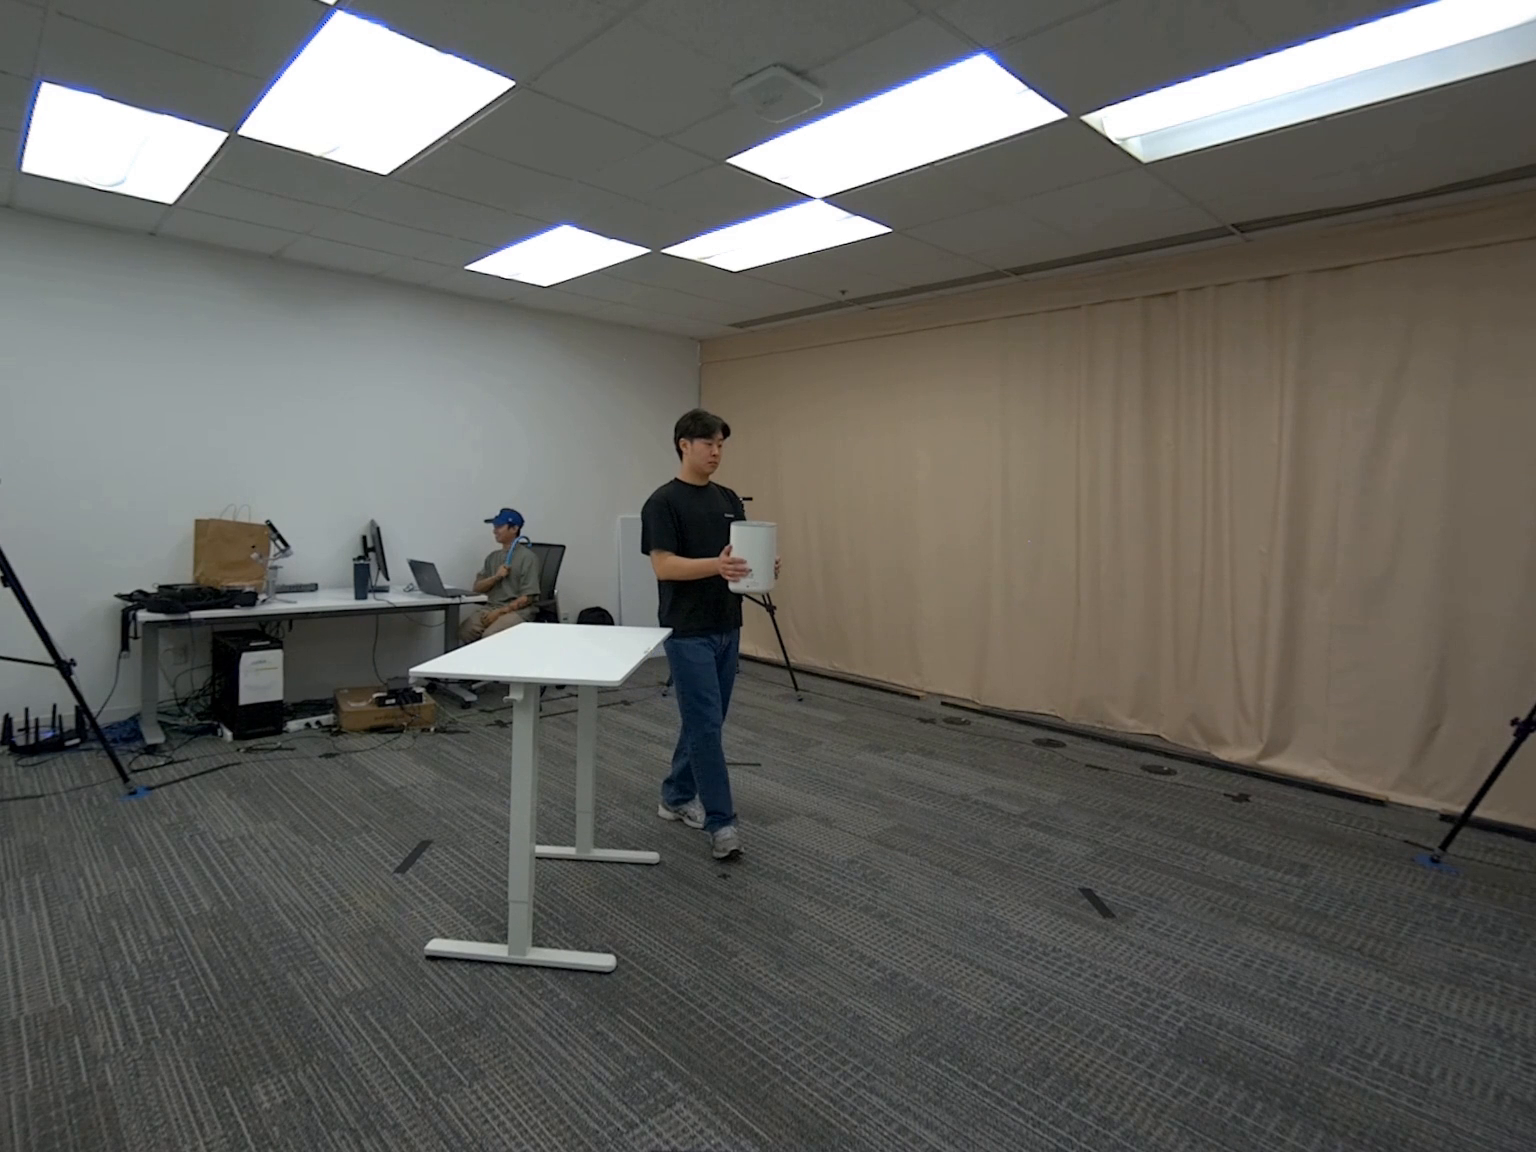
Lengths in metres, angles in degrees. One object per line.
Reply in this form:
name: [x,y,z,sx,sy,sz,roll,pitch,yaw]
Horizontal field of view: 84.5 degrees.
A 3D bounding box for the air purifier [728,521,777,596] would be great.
air purifier: [-0.067,-0.071,3.227,0.172,0.264,0.171,5,6,7]
